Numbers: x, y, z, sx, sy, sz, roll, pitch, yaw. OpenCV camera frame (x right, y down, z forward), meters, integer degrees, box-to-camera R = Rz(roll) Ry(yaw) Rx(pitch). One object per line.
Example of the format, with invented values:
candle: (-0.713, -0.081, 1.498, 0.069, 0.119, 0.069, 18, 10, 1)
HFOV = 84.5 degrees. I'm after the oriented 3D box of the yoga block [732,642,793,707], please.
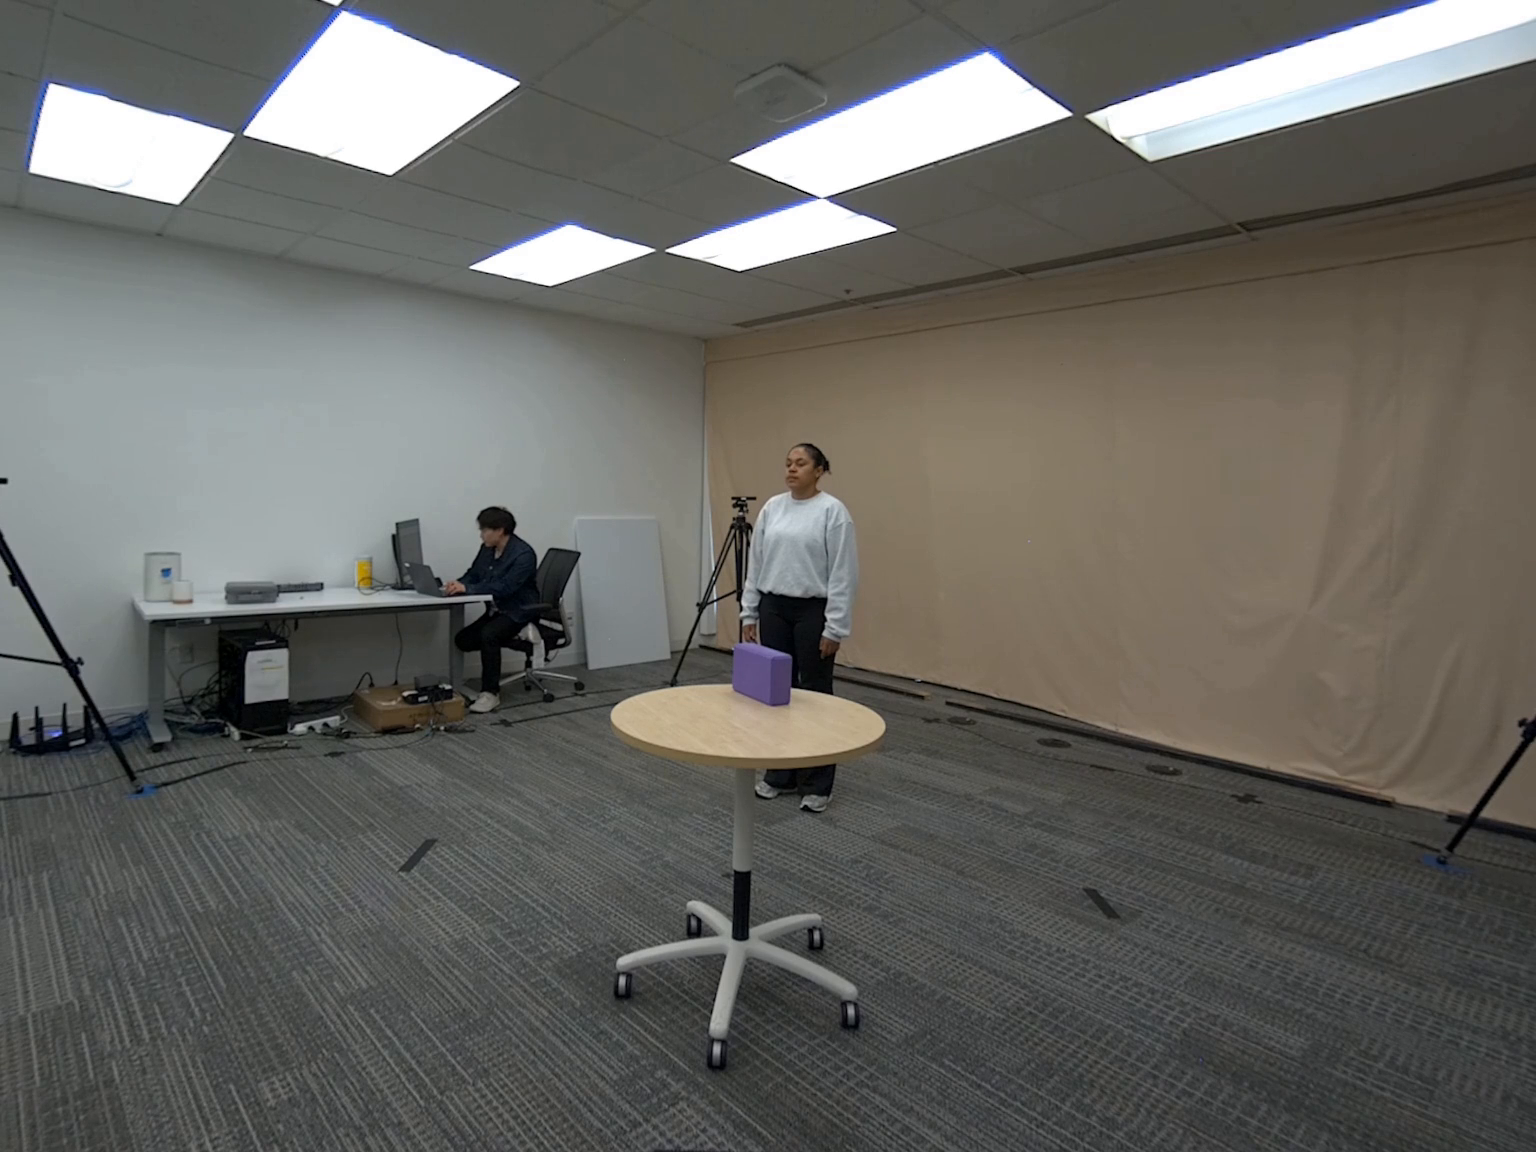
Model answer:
yoga block: (-0.029, 0.300, 2.578, 0.075, 0.148, 0.235, 0, 5, -31)
